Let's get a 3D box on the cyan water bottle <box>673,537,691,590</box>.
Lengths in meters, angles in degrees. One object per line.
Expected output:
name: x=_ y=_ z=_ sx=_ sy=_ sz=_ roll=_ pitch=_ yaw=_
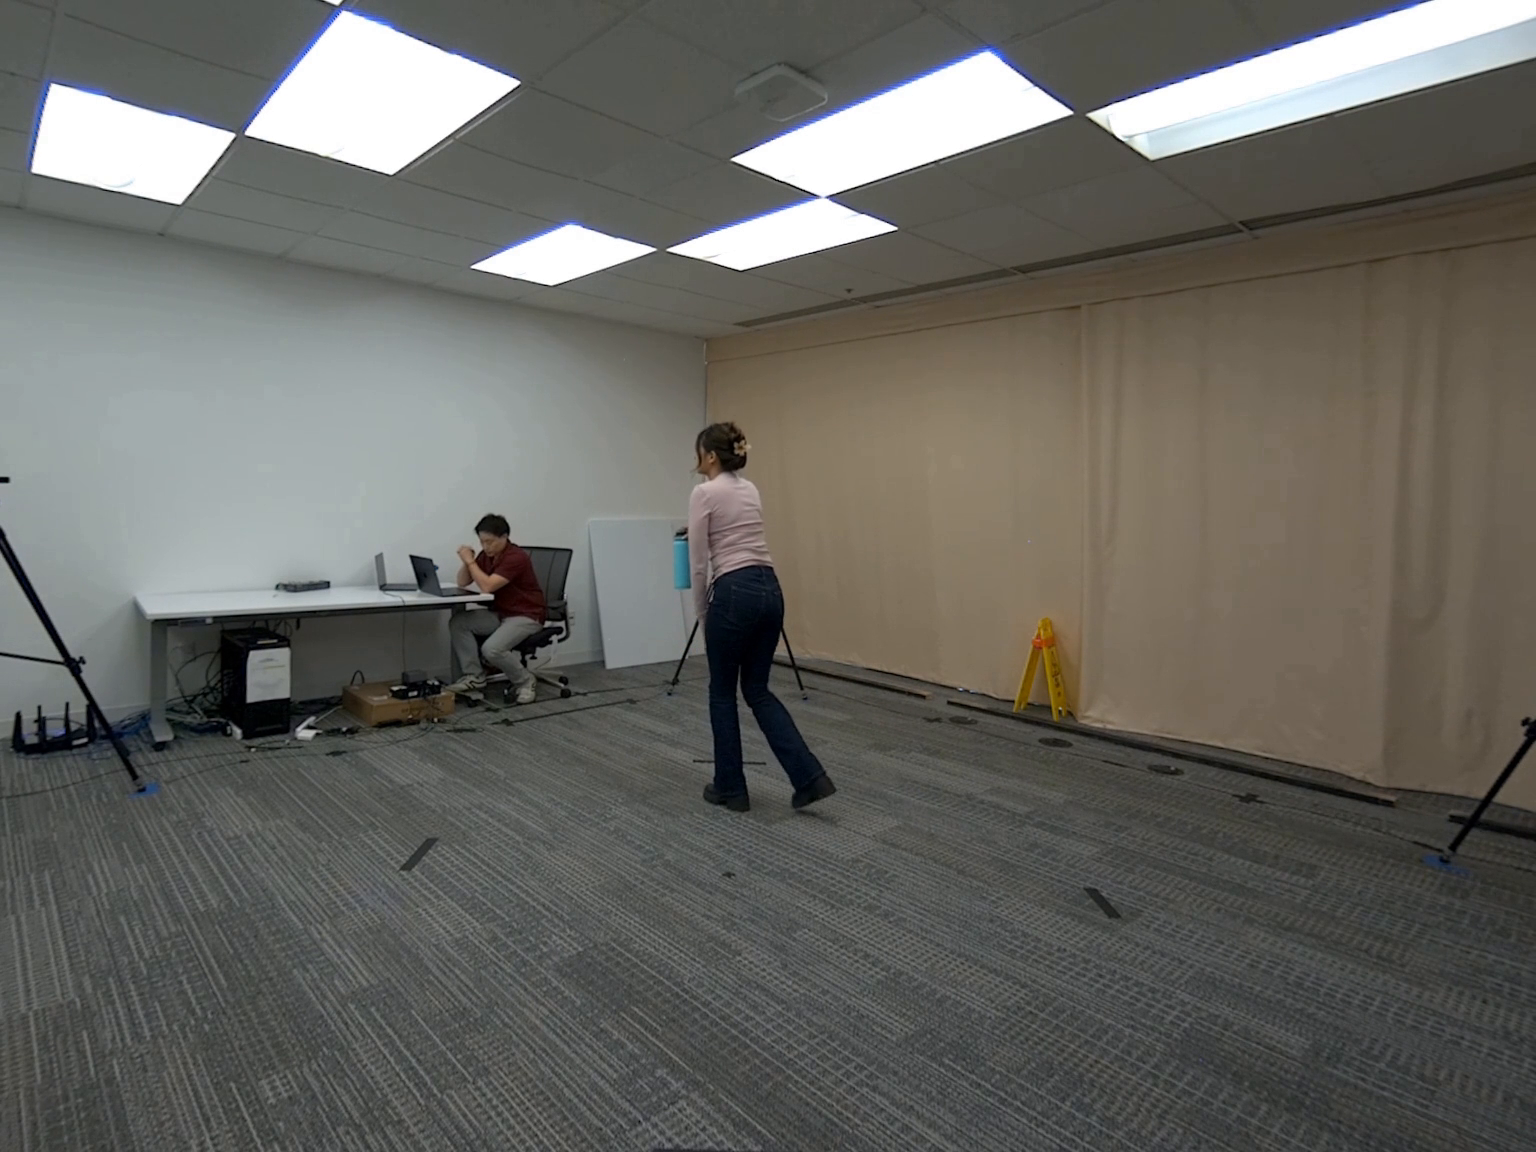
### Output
cyan water bottle: x=-0.412 y=-0.077 z=4.001 sx=0.092 sy=0.283 sz=0.092 roll=-3 pitch=0 yaw=-1
